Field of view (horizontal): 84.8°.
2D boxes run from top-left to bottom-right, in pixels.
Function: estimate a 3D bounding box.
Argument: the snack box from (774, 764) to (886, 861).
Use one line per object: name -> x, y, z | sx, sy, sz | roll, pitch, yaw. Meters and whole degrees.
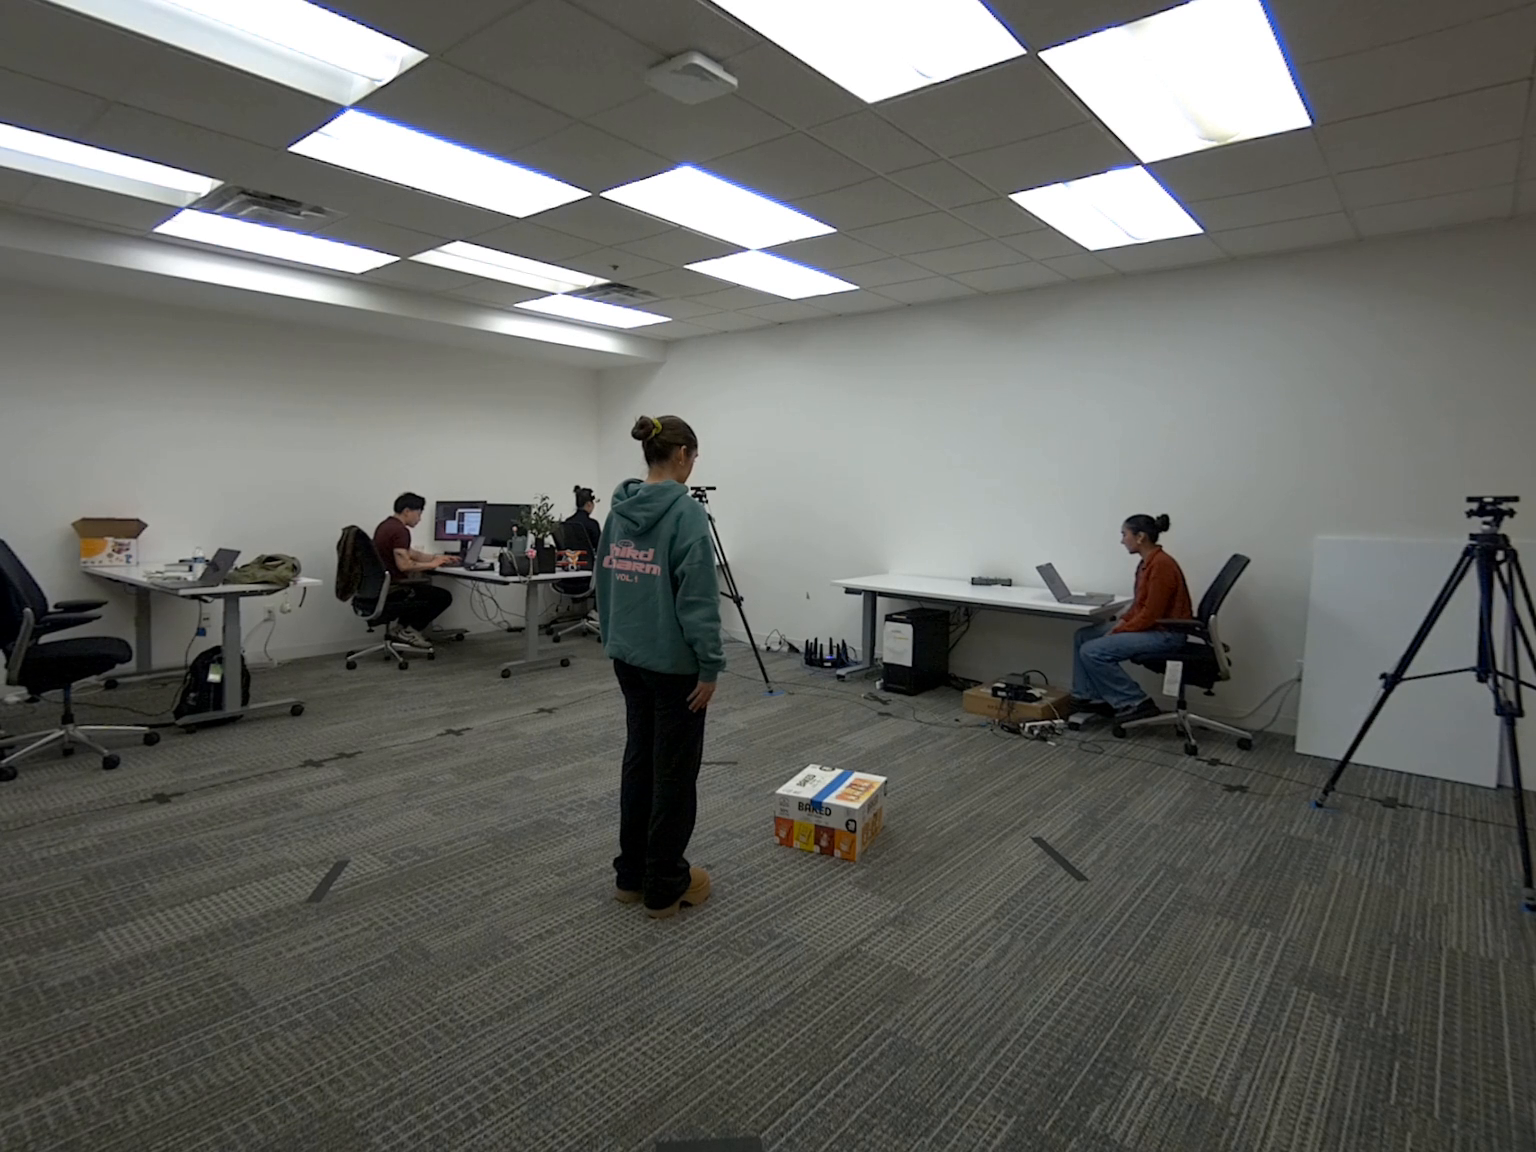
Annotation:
snack box -> 0.252, 0.940, 3.436 | 0.349, 0.205, 0.396 | 4, 6, 25
